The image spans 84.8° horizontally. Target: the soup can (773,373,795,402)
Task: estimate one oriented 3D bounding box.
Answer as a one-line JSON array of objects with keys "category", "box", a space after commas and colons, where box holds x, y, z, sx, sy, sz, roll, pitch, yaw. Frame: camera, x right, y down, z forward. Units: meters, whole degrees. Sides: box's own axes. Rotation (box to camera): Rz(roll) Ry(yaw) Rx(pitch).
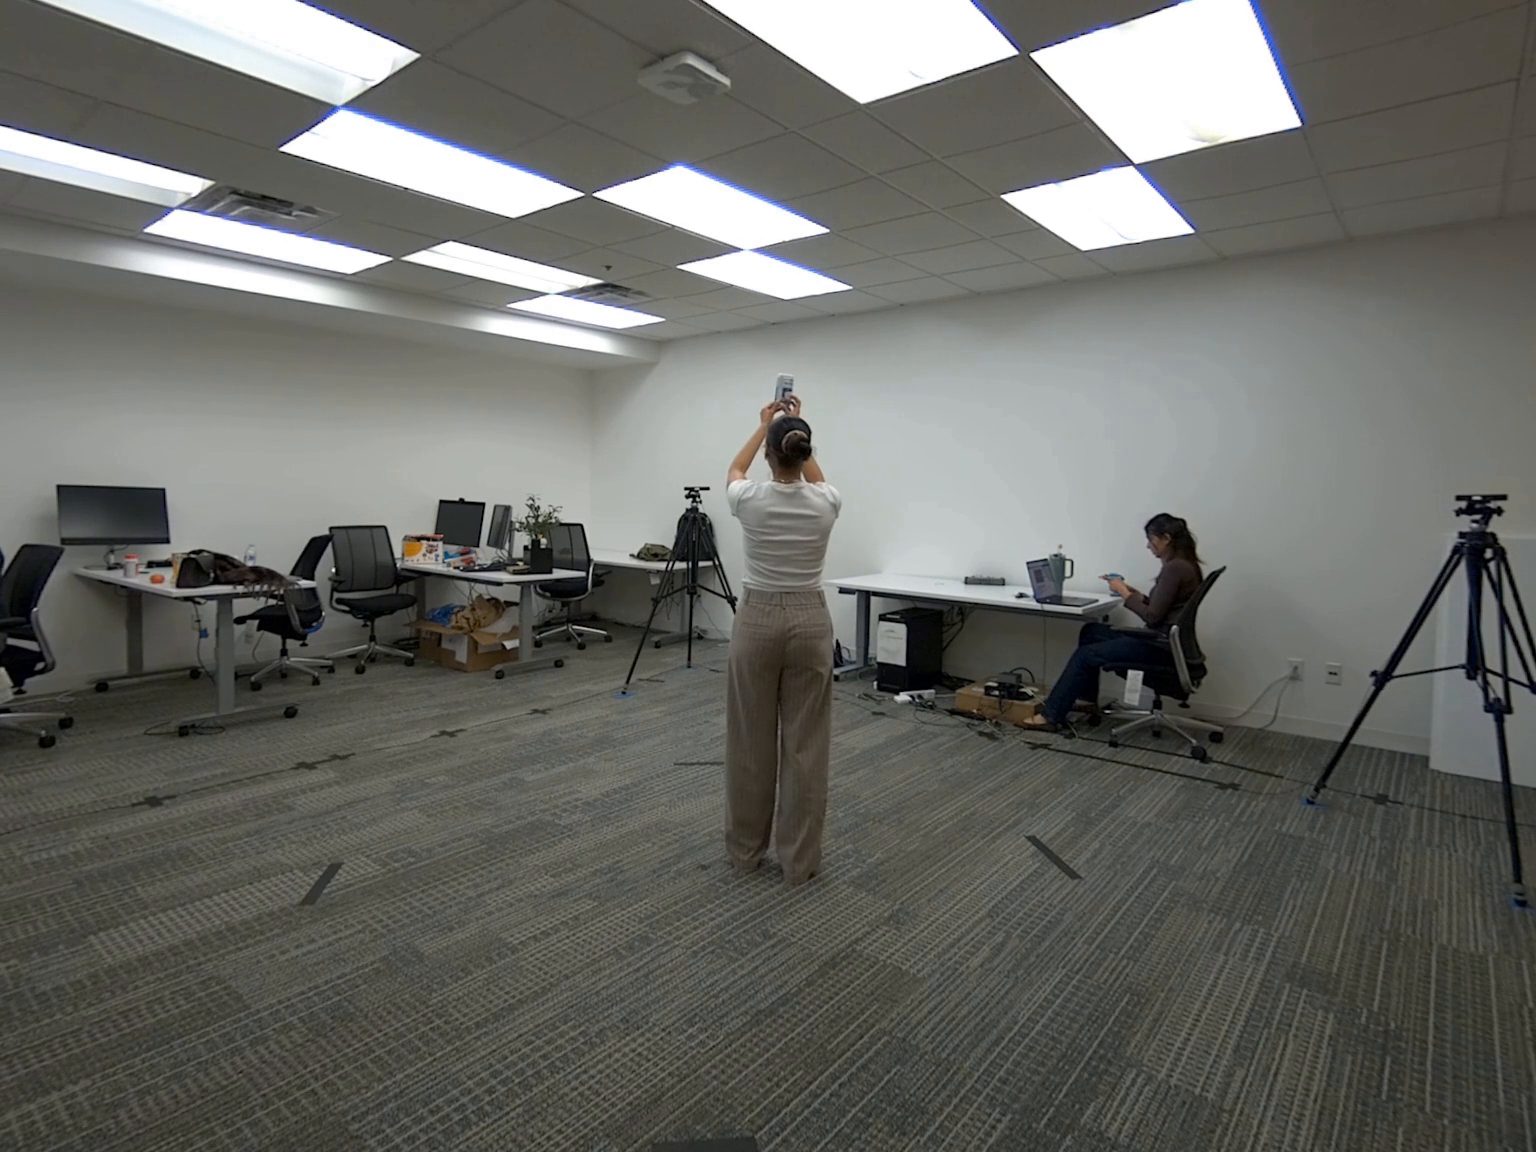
[{"category": "soup can", "box": [0.051, -0.745, 3.373, 0.067, 0.121, 0.067, 5, 5, -2]}]
